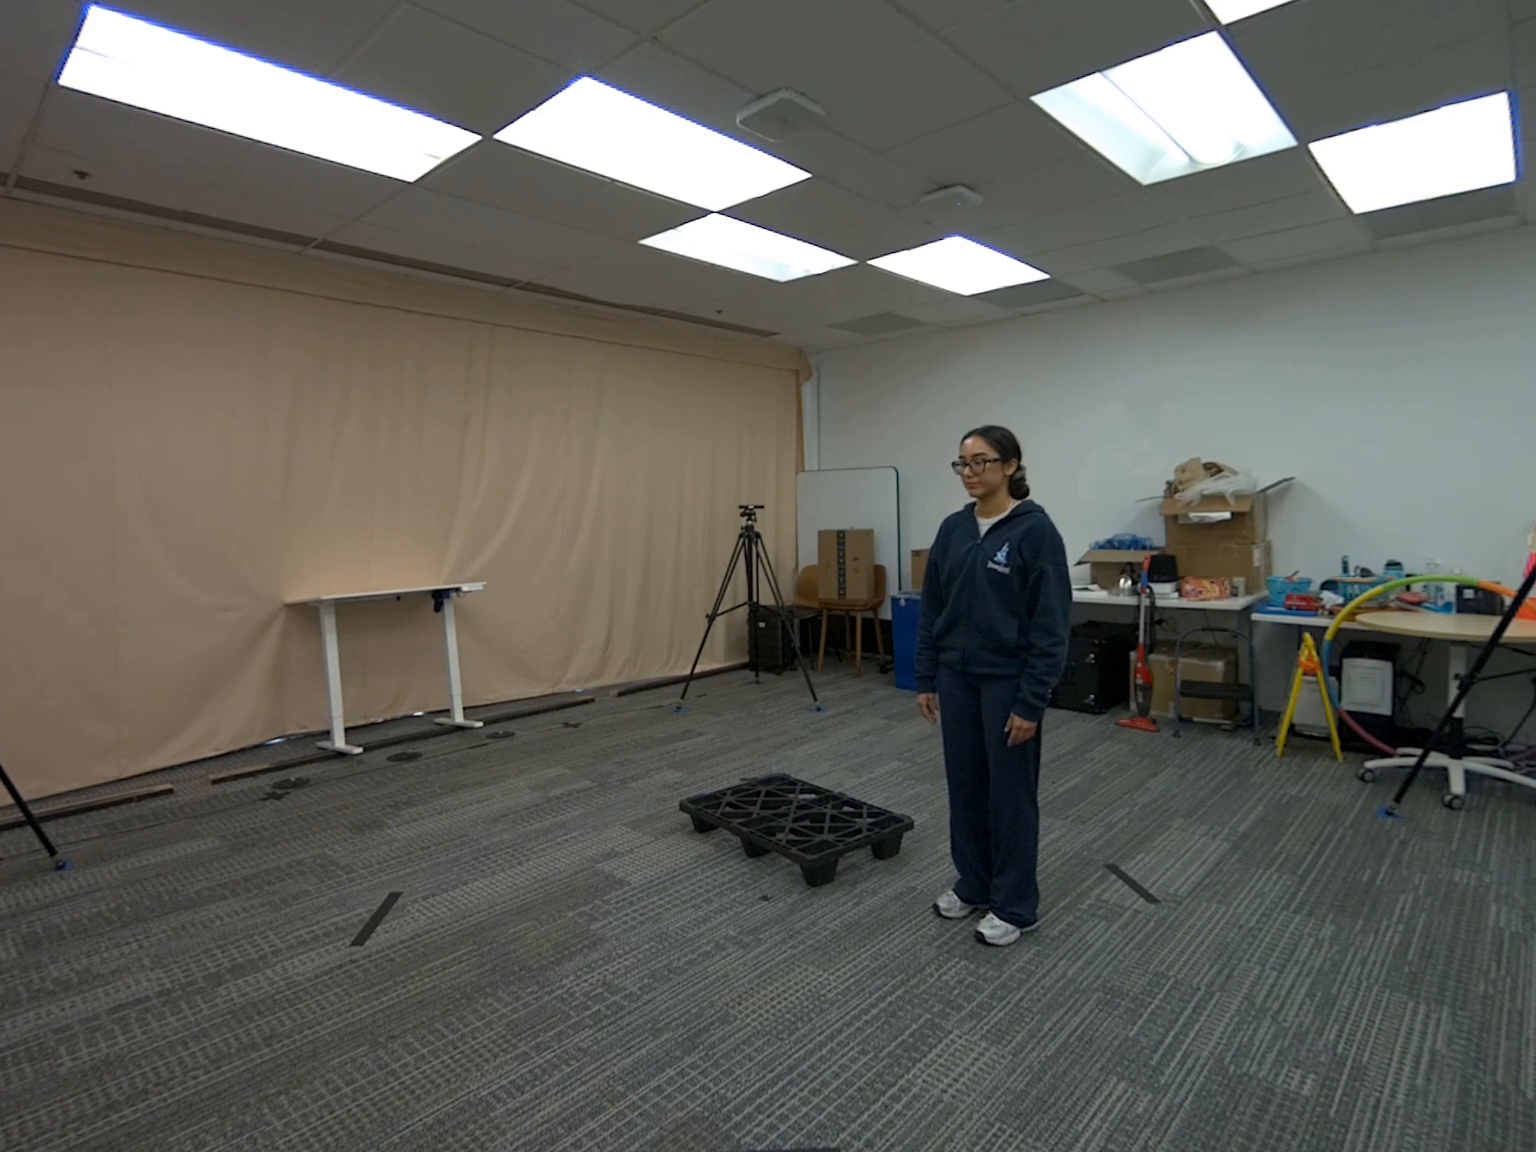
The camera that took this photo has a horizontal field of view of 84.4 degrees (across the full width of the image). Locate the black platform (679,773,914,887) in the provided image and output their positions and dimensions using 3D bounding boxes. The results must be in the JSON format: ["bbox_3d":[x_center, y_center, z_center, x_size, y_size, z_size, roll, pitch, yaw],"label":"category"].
[{"bbox_3d":[0.104,1.030,3.468,0.587,0.143,0.832,-5,6,-40],"label":"black platform"}]
